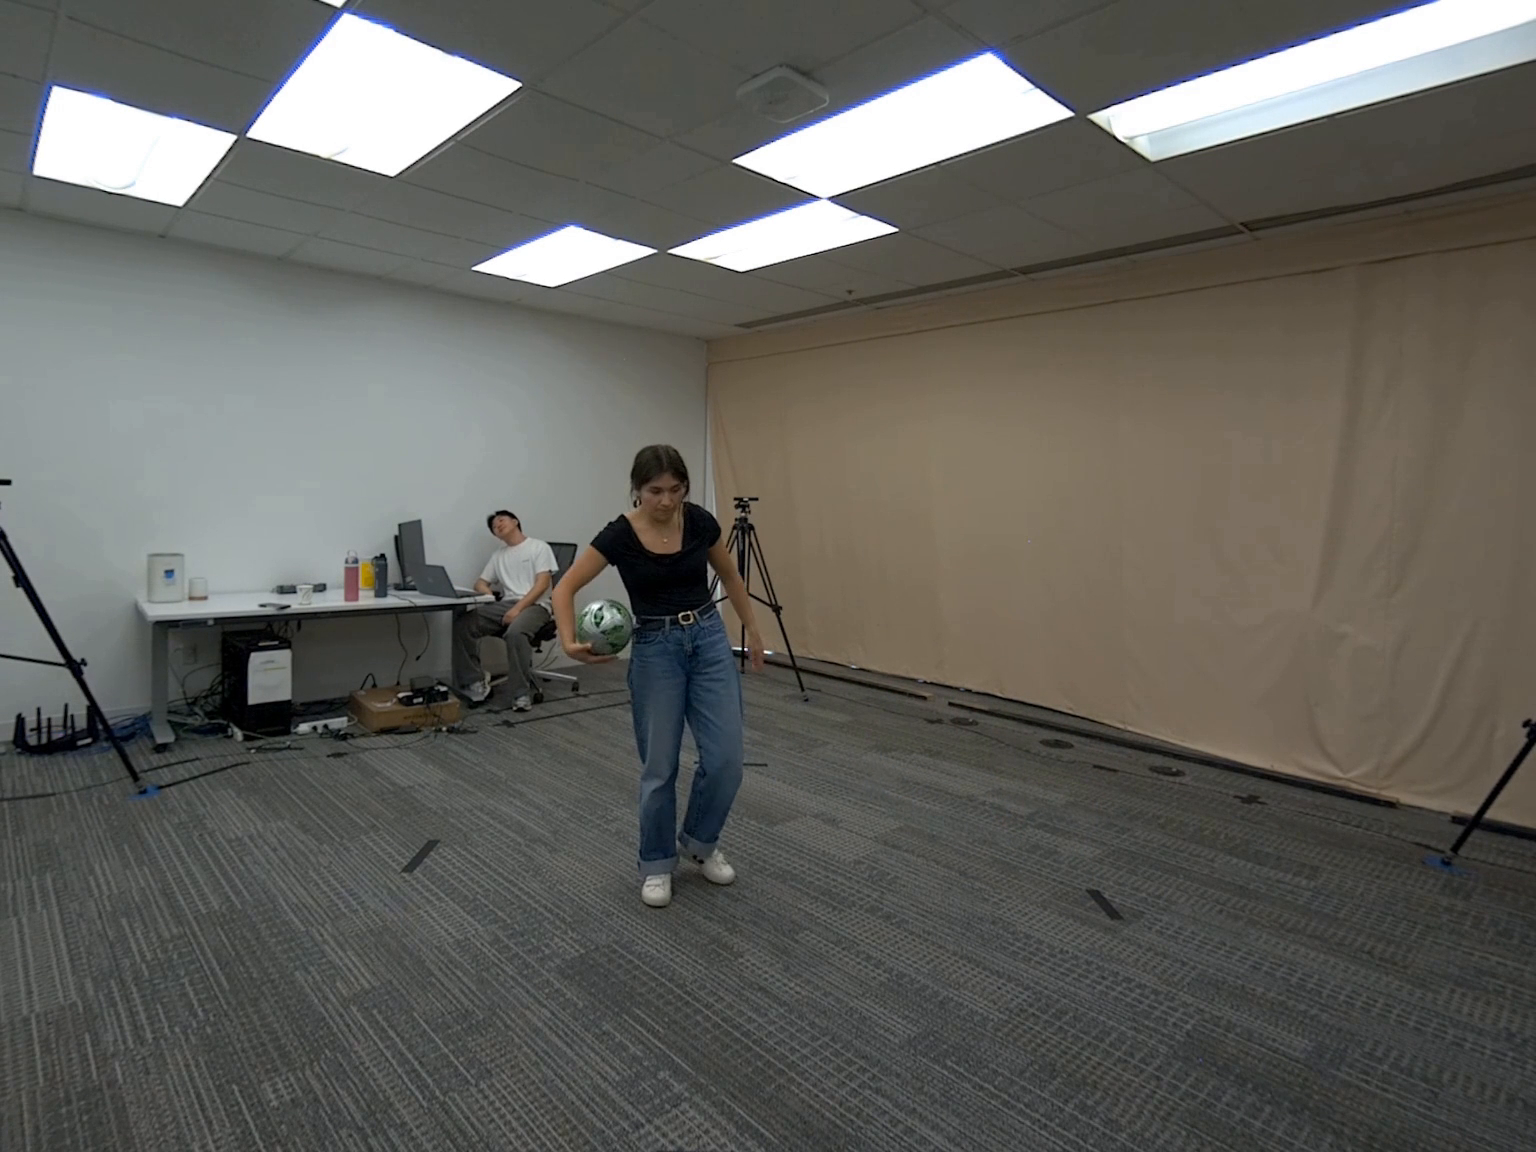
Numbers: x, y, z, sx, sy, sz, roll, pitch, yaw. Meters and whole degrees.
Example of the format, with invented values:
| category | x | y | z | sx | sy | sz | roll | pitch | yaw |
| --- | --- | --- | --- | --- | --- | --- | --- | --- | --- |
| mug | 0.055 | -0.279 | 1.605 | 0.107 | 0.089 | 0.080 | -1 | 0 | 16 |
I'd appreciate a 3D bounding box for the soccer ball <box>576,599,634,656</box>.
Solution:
| category | x | y | z | sx | sy | sz | roll | pitch | yaw |
| --- | --- | --- | --- | --- | --- | --- | --- | --- | --- |
| soccer ball | -0.514 | 0.162 | 2.742 | 0.187 | 0.187 | 0.188 | 1 | 4 | -1 |
